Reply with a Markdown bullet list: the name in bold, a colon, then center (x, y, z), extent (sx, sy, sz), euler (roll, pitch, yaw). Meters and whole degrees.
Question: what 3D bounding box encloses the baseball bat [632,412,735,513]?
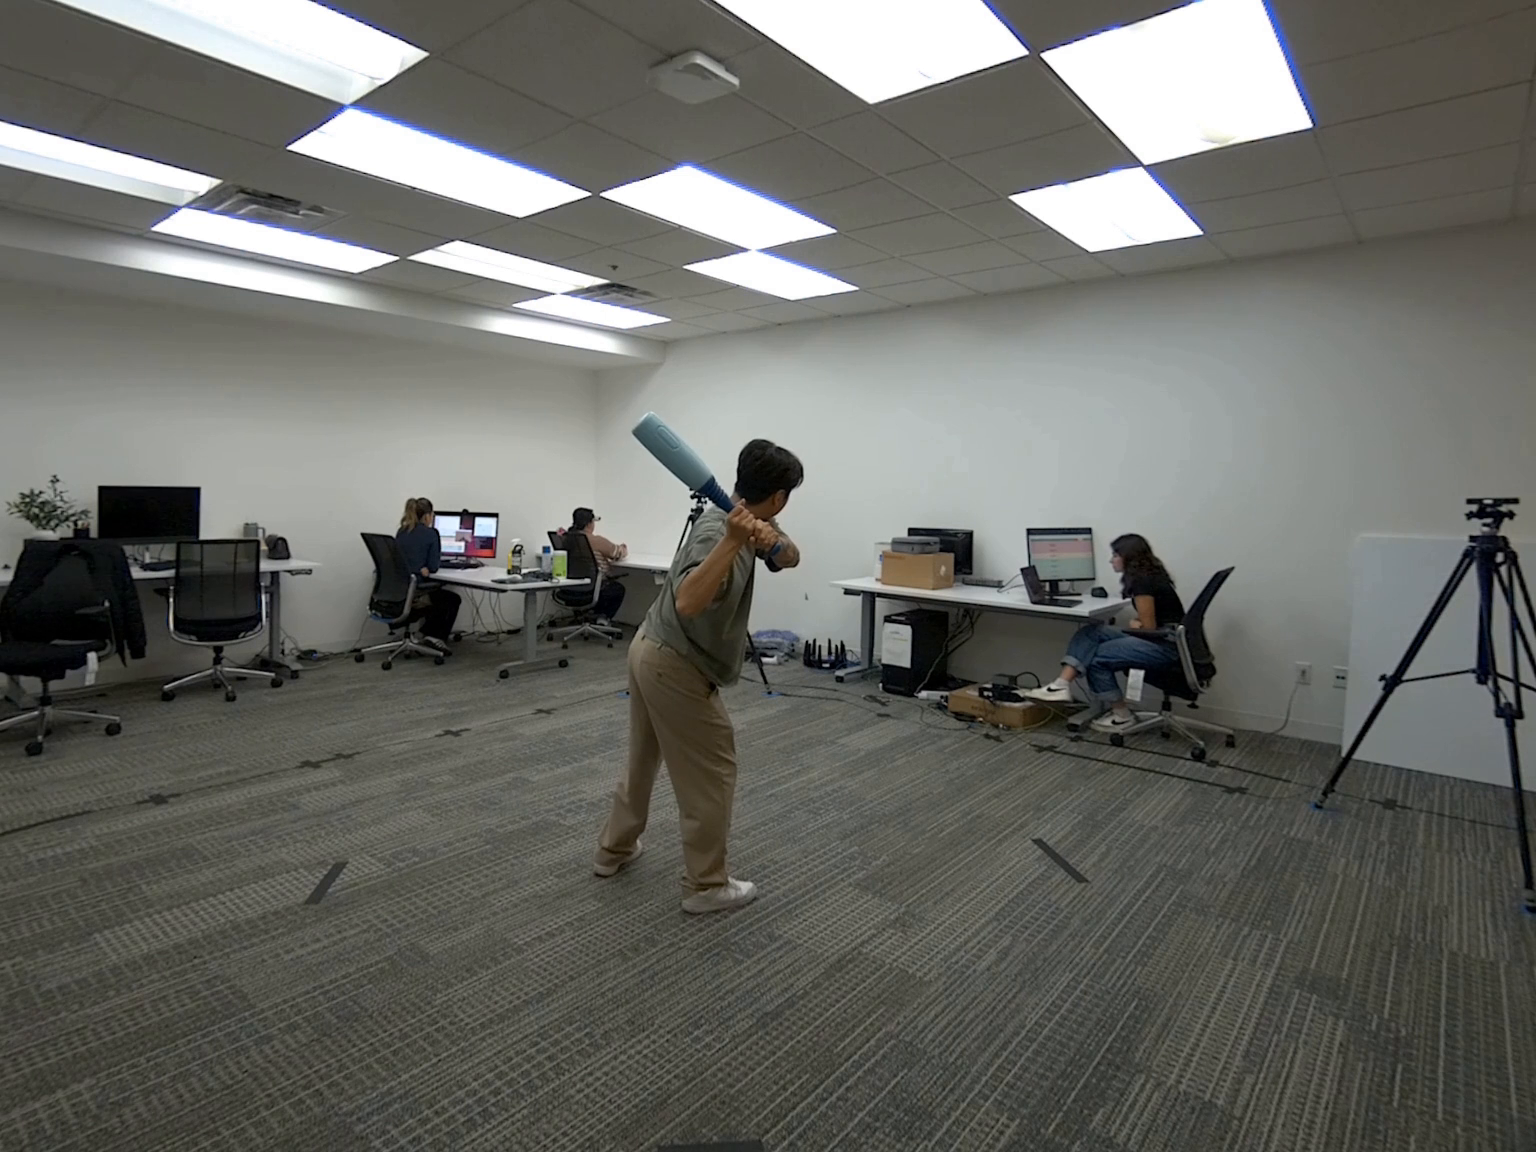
- **baseball bat**: center (-0.172, -0.242, 2.396), extent (0.536, 0.089, 0.090), euler (44, -5, -9)
